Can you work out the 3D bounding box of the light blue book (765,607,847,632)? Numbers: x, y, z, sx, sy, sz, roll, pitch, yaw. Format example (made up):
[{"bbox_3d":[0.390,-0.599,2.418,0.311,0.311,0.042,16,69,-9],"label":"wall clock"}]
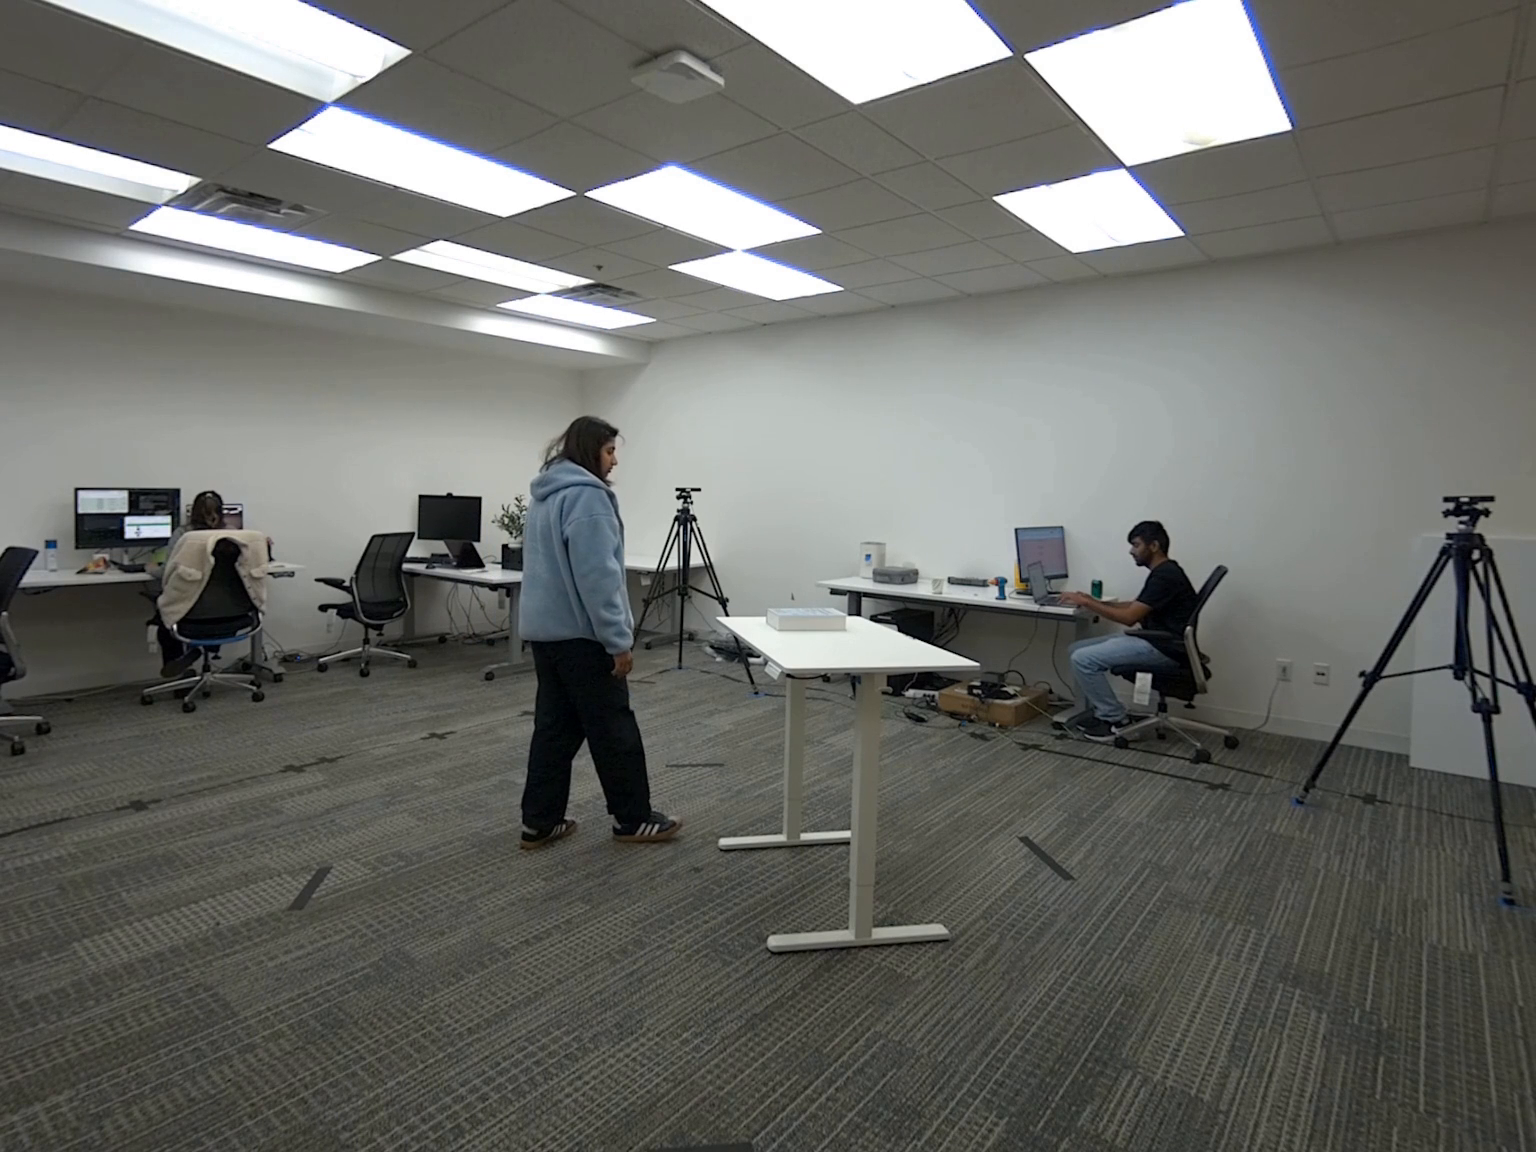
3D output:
[{"bbox_3d":[0.135,0.161,3.179,0.258,0.059,0.194,0,5,-10],"label":"light blue book"}]
